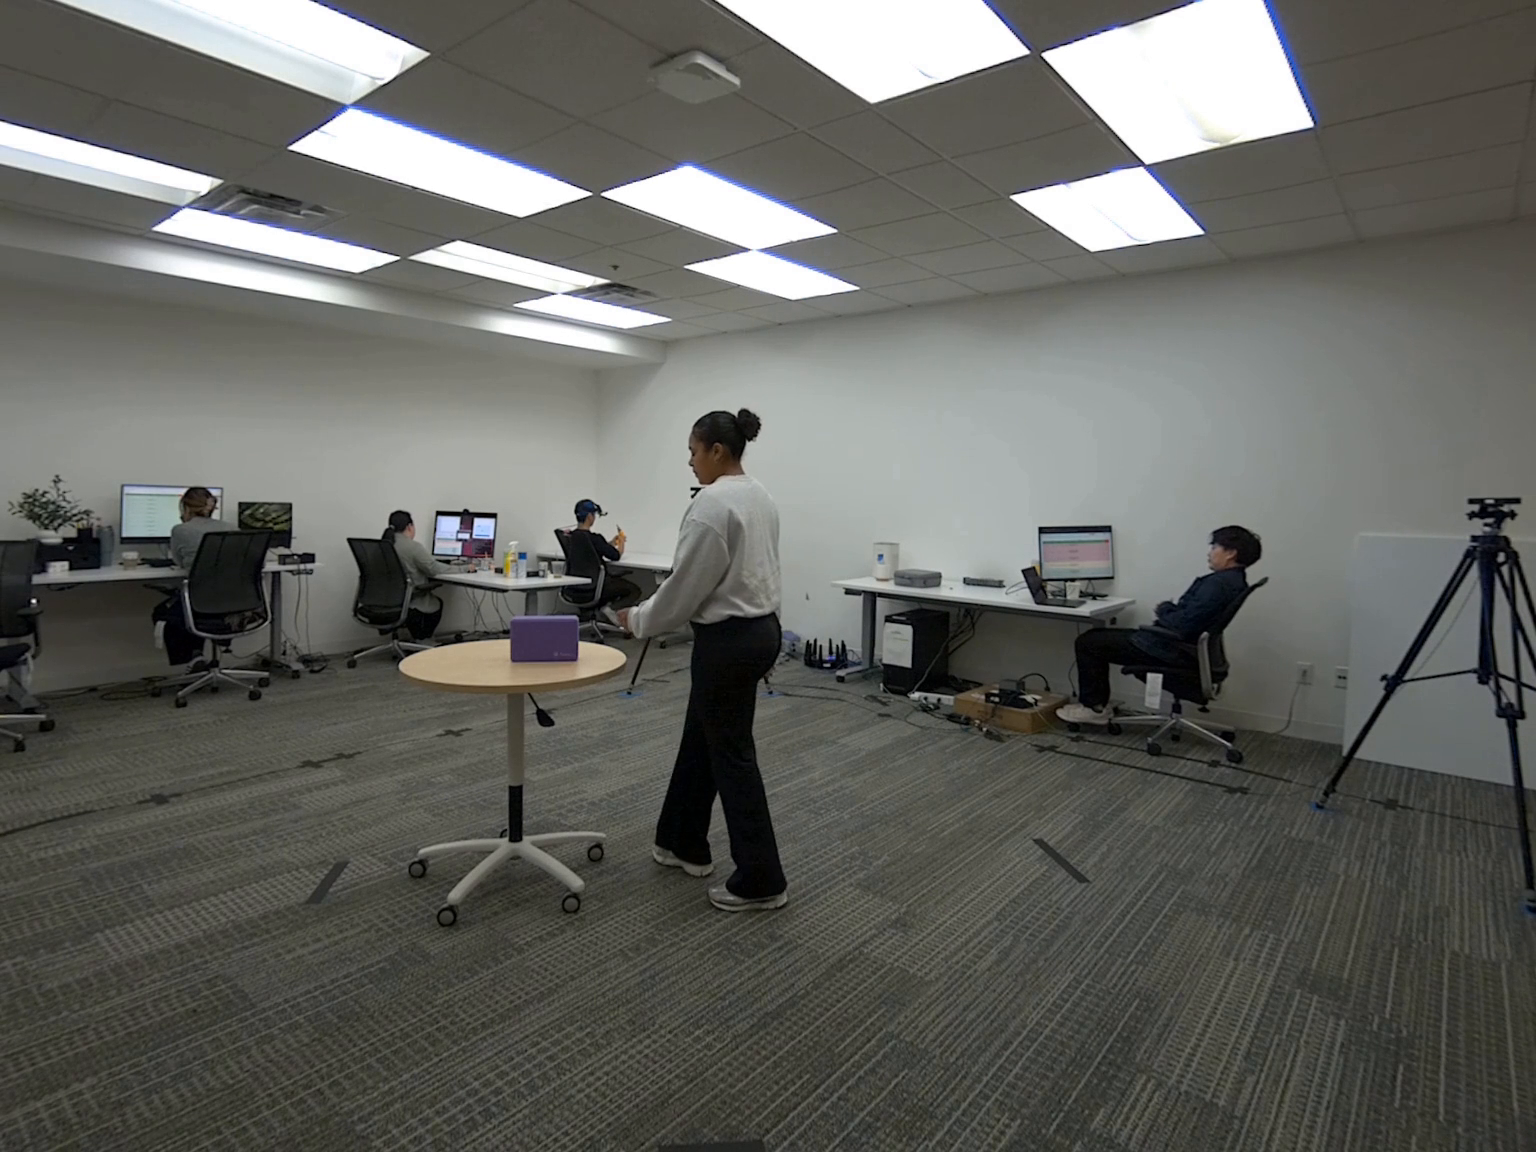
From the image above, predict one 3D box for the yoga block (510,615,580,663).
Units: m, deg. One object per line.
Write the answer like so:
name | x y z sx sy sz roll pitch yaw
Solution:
yoga block | -0.785 0.218 2.951 0.228 0.148 0.077 0 4 -3
